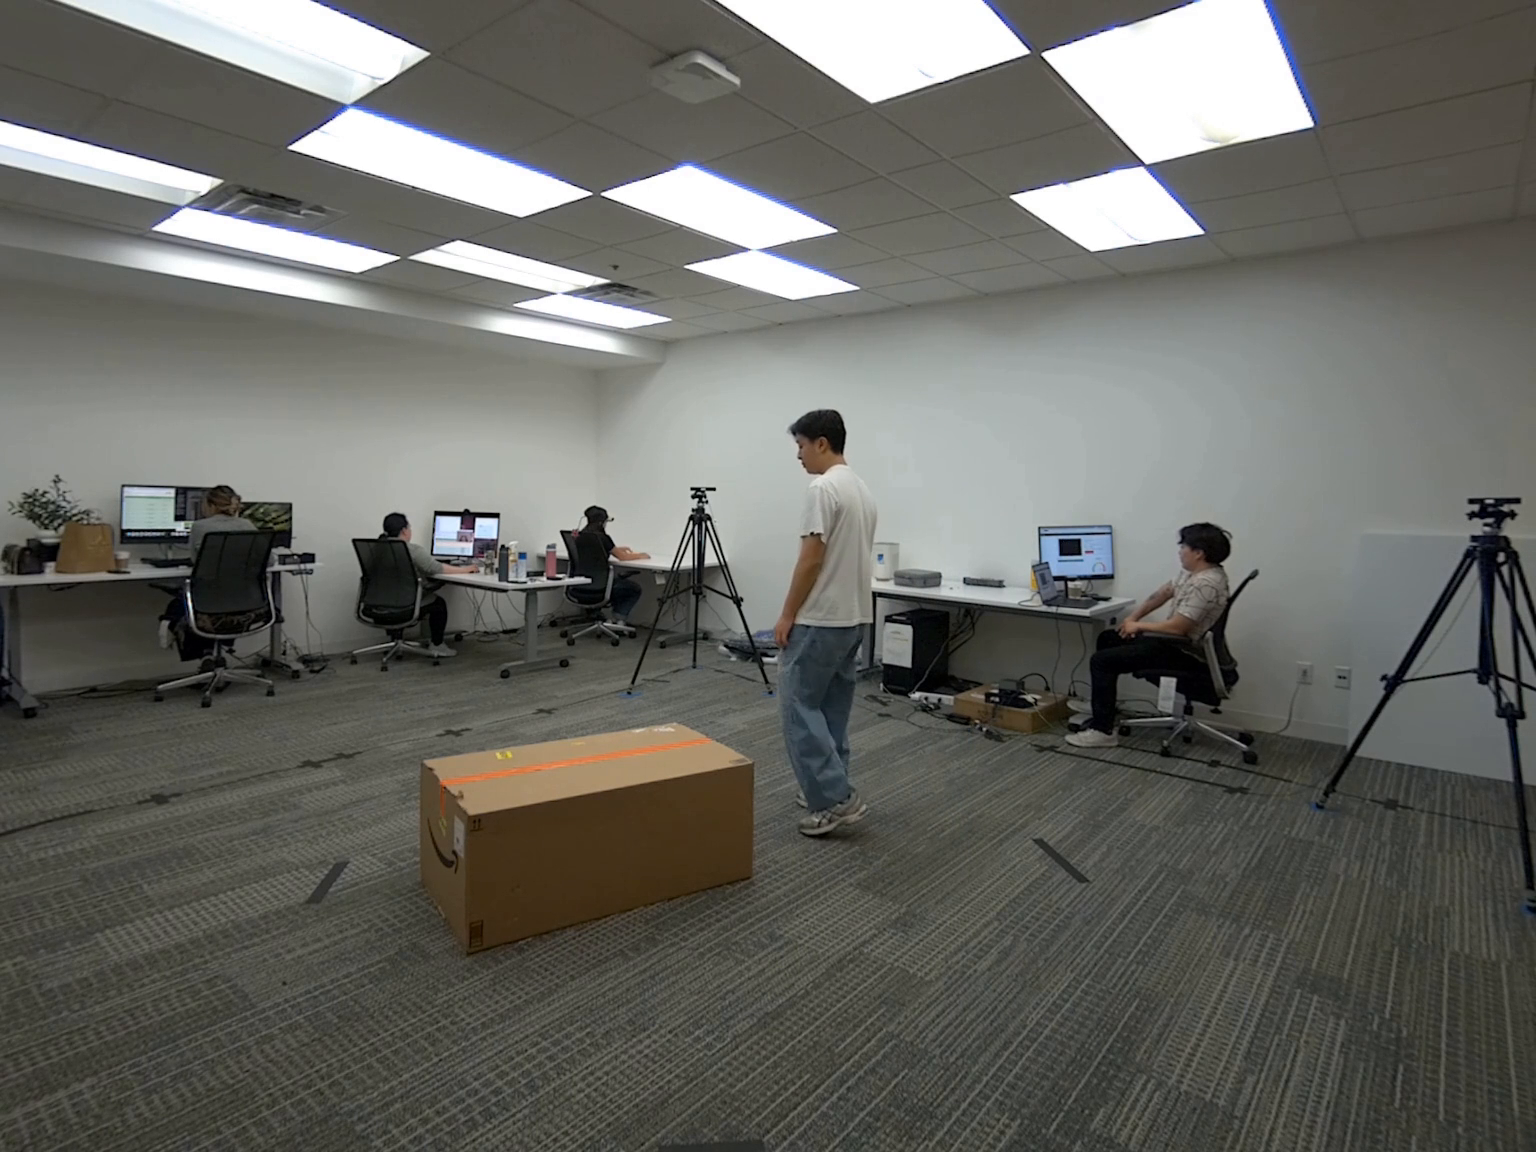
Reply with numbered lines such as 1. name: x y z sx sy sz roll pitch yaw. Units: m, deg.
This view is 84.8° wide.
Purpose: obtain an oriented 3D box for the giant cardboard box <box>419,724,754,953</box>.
1. giant cardboard box: -0.641 0.856 2.994 0.997 0.425 0.596 -3 5 -33
